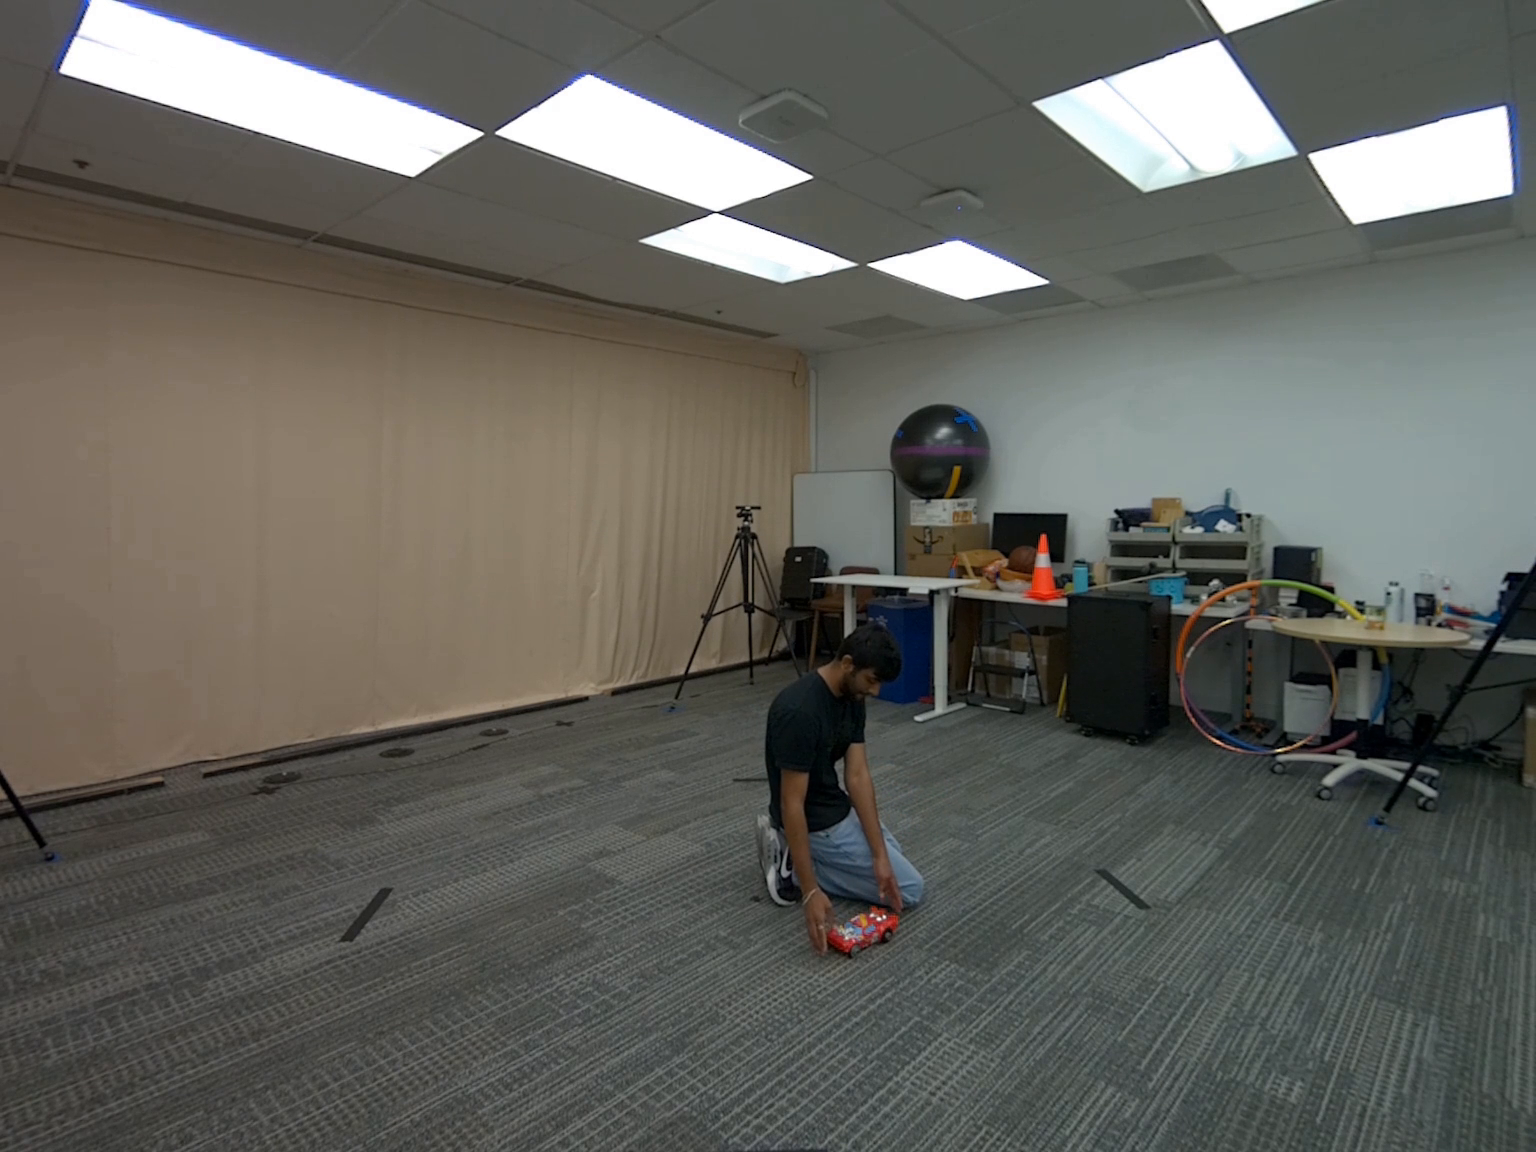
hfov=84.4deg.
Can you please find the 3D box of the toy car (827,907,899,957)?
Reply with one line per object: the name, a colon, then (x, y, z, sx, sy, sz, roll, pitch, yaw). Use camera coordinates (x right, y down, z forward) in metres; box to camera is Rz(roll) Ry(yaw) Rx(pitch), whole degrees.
toy car: (0.306, 1.129, 2.691, 0.249, 0.082, 0.134, -18, 15, -35)
